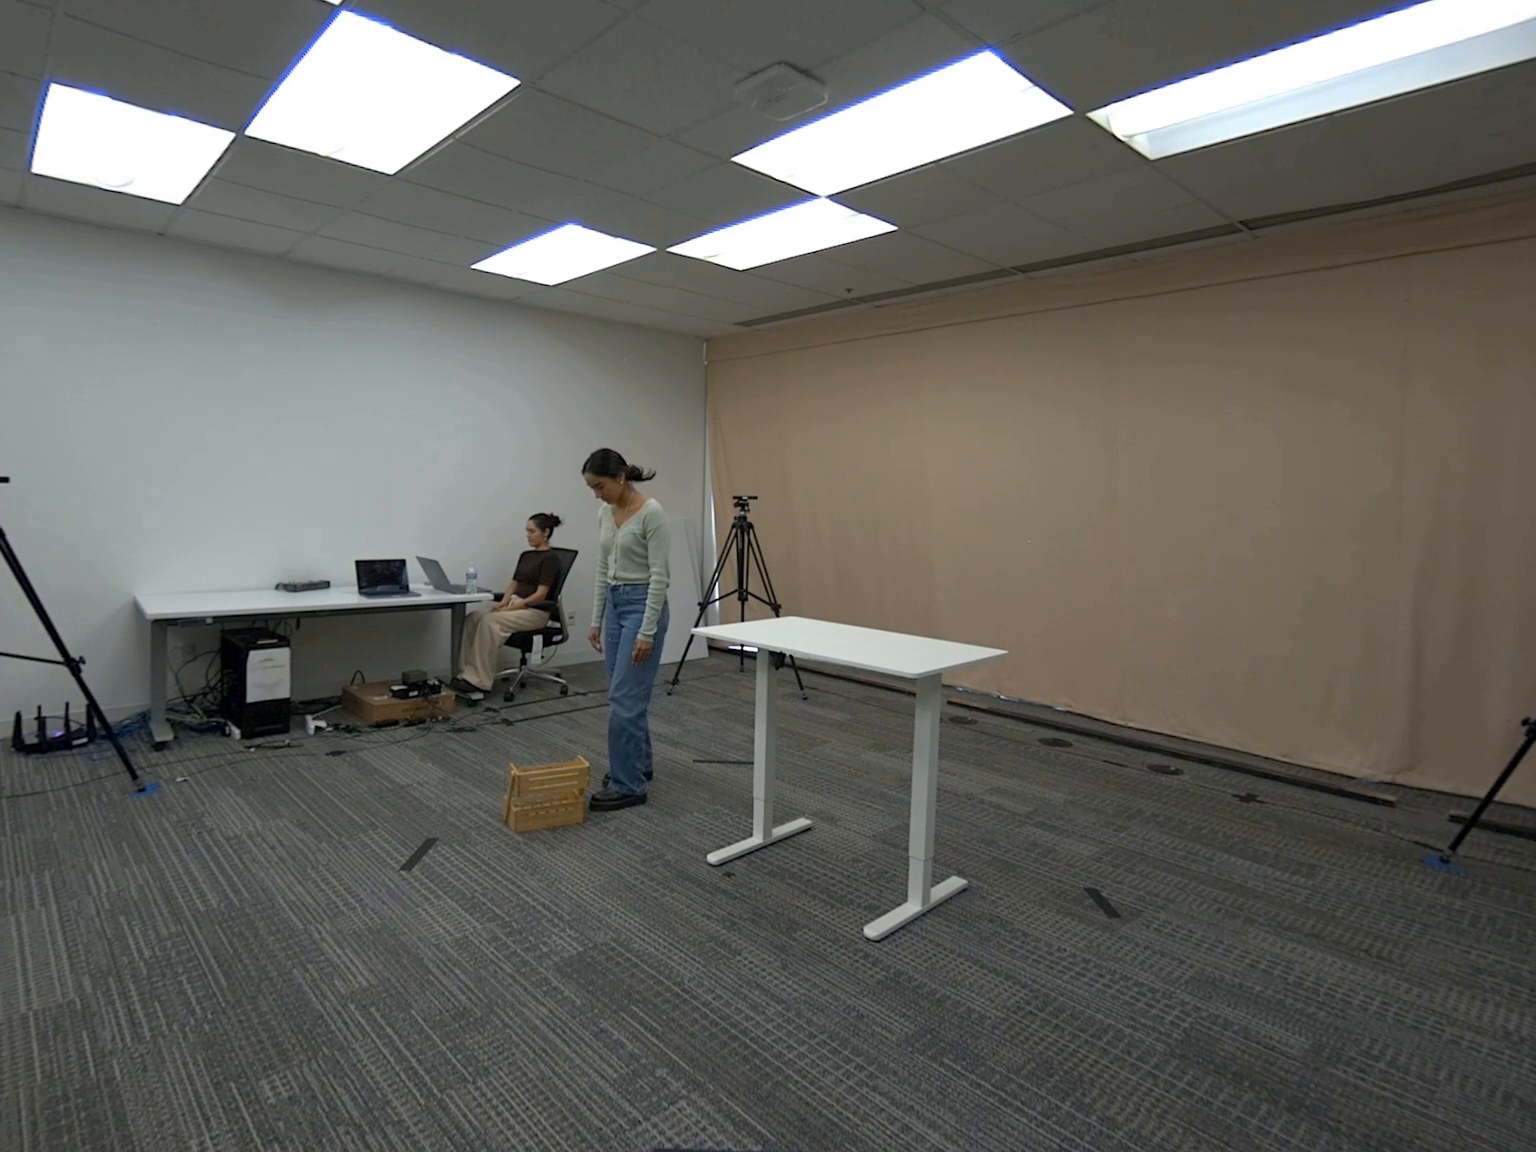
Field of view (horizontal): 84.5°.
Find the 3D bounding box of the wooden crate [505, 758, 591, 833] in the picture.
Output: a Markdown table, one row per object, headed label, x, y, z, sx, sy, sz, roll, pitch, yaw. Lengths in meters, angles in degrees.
| label | x | y | z | sx | sy | sz | roll | pitch | yaw |
| --- | --- | --- | --- | --- | --- | --- | --- | --- | --- |
| wooden crate | -0.963 | 0.907 | 3.594 | 0.318 | 0.272 | 0.309 | 0 | 6 | -29 |
